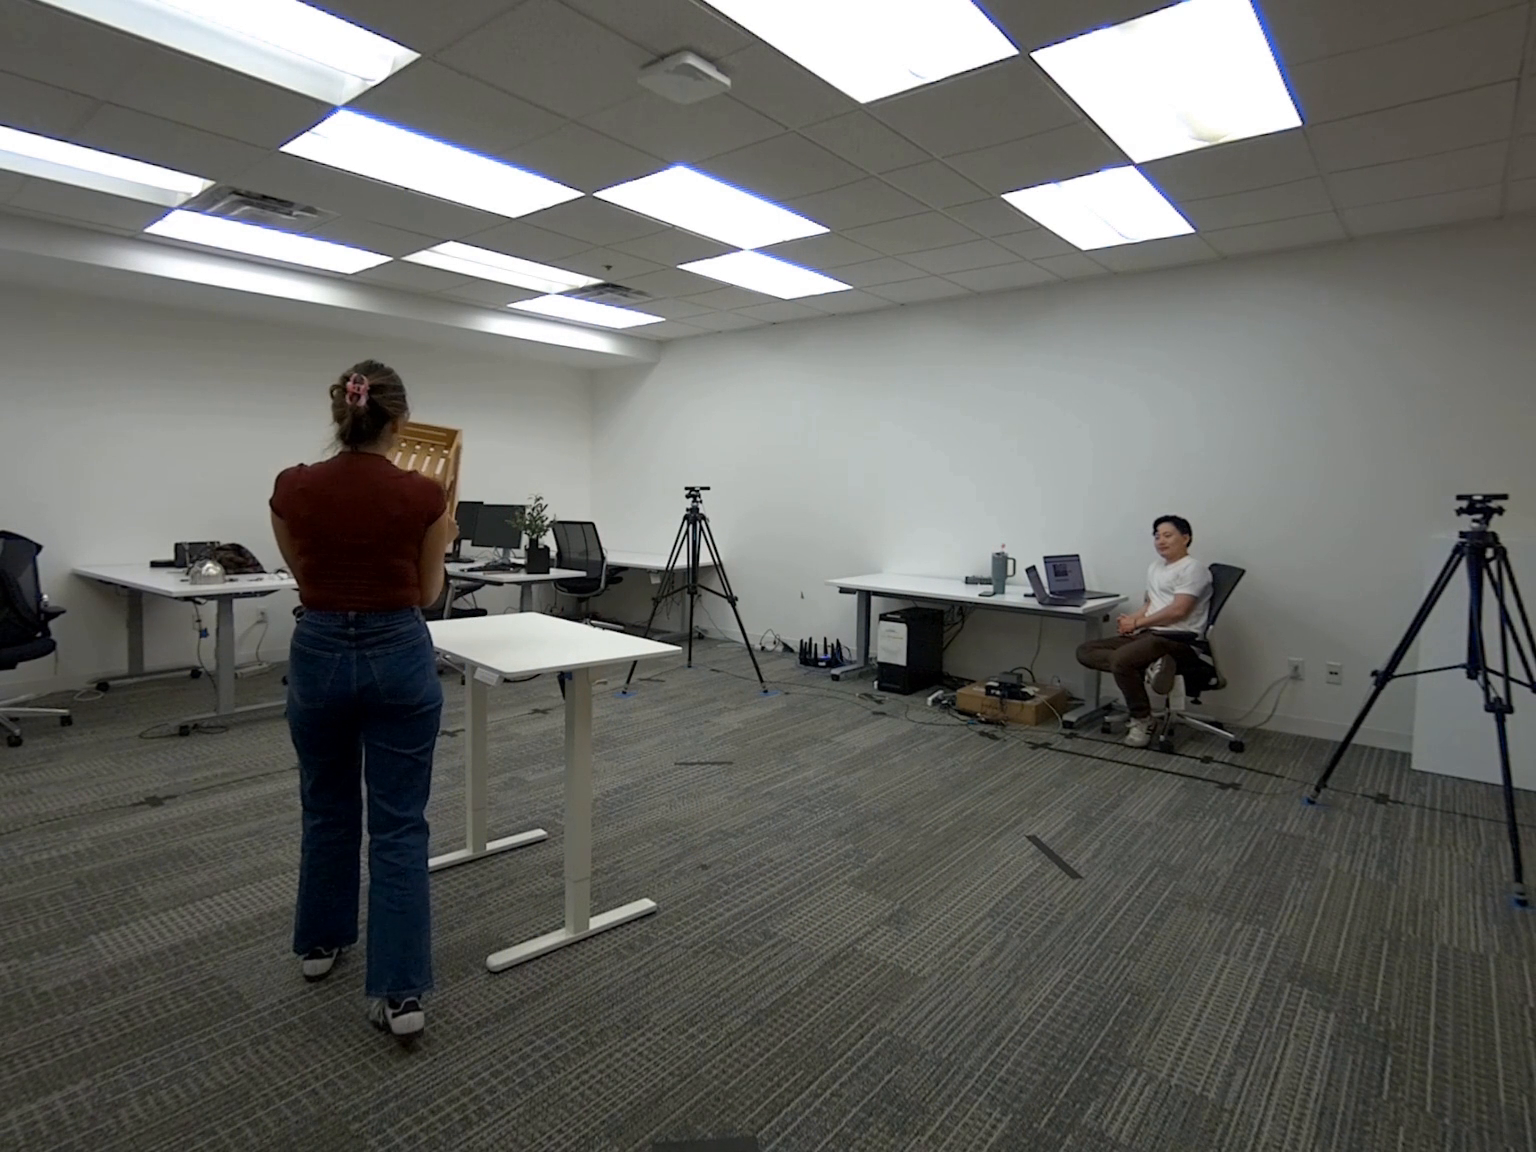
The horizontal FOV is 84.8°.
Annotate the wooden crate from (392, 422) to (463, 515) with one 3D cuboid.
[{"bbox_3d":[-1.140,-0.286,2.612,0.322,0.268,0.311,7,46,-8],"label":"wooden crate"}]
